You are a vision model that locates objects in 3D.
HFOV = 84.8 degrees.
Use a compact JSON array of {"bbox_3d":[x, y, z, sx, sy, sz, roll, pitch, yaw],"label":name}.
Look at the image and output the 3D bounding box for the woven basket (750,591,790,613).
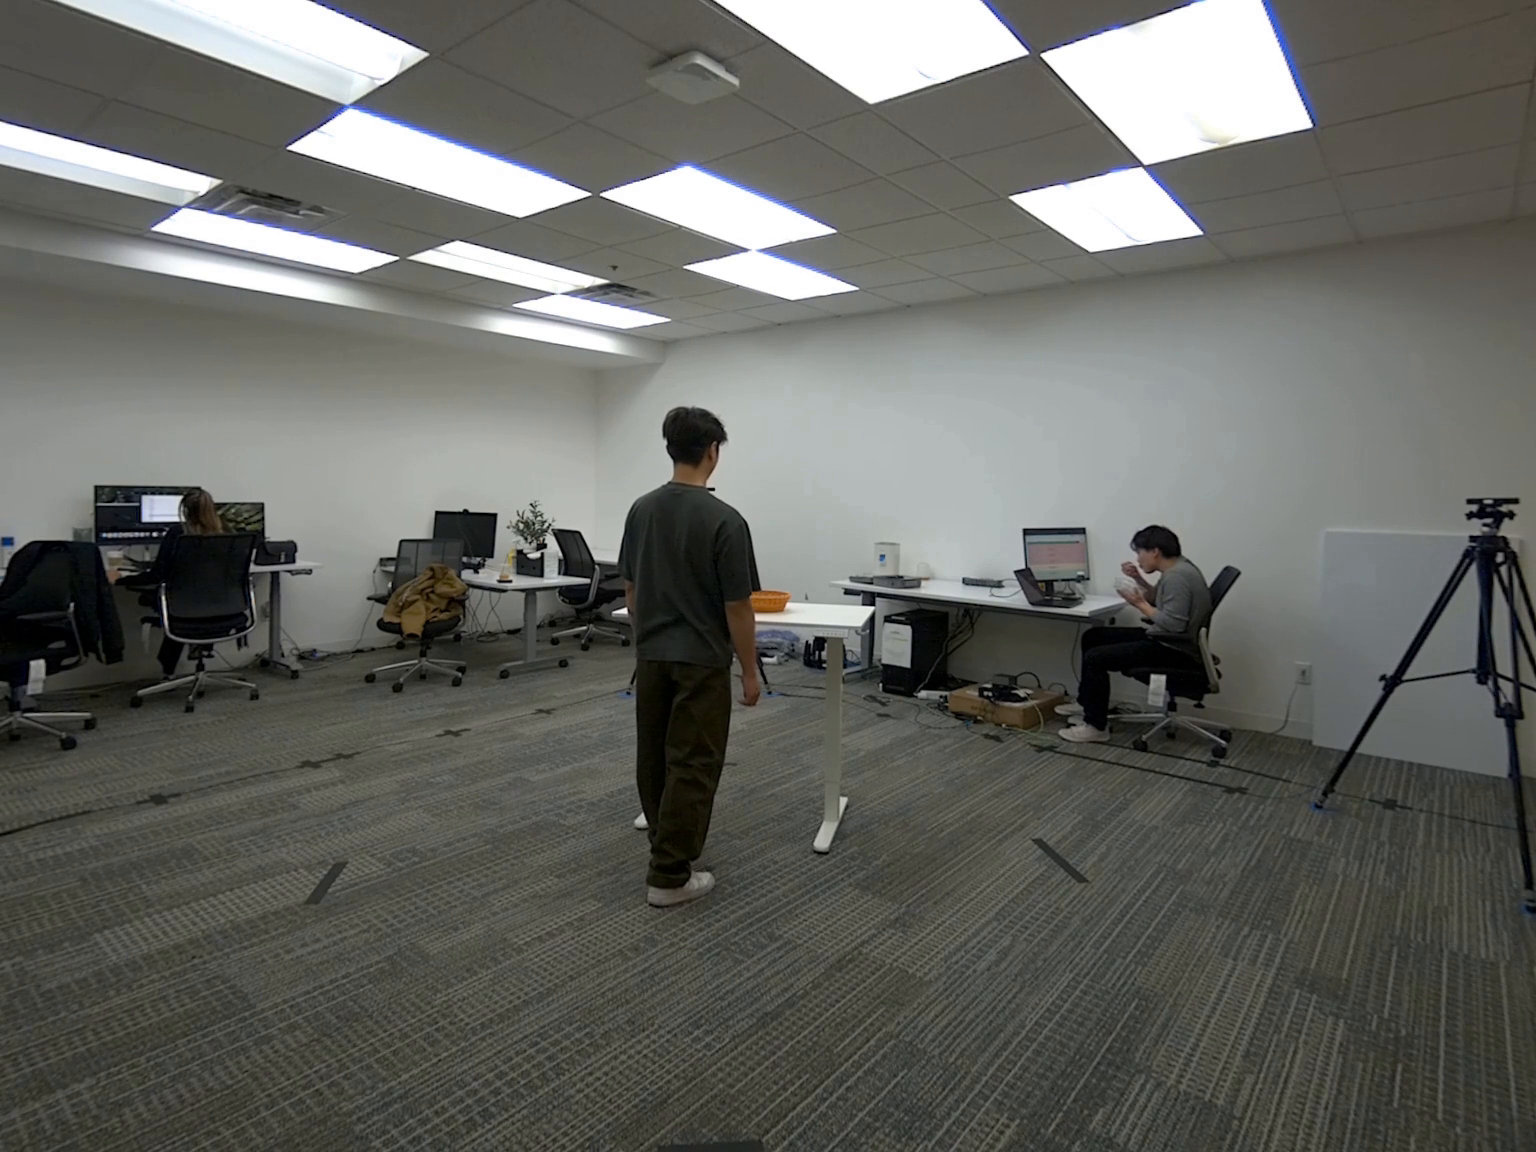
[{"bbox_3d":[-0.081,0.108,3.616,0.357,0.073,0.249,2,5,17],"label":"woven basket"}]
